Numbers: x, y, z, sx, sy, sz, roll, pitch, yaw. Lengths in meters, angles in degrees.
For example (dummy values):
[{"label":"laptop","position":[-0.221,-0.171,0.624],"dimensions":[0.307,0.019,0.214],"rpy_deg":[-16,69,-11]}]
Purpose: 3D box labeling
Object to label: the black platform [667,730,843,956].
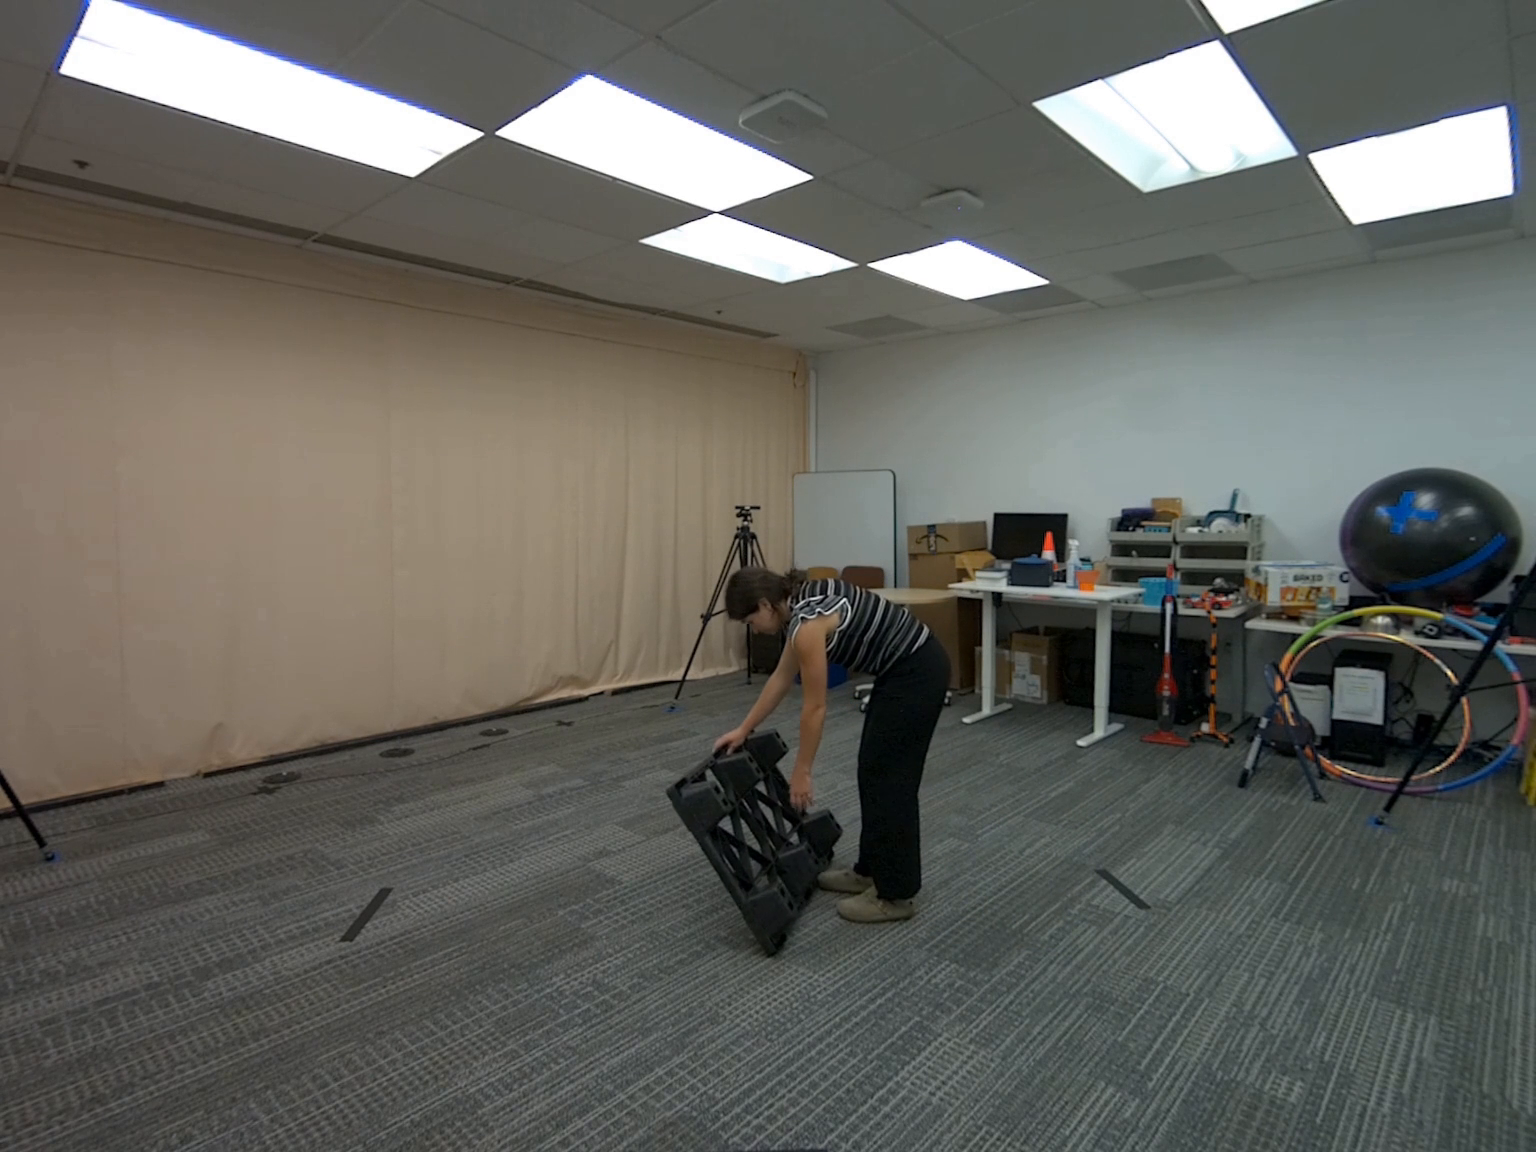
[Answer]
[{"label":"black platform","position":[0.007,0.868,2.984],"dimensions":[0.144,0.611,0.791],"rpy_deg":[-38,-8,16]}]
